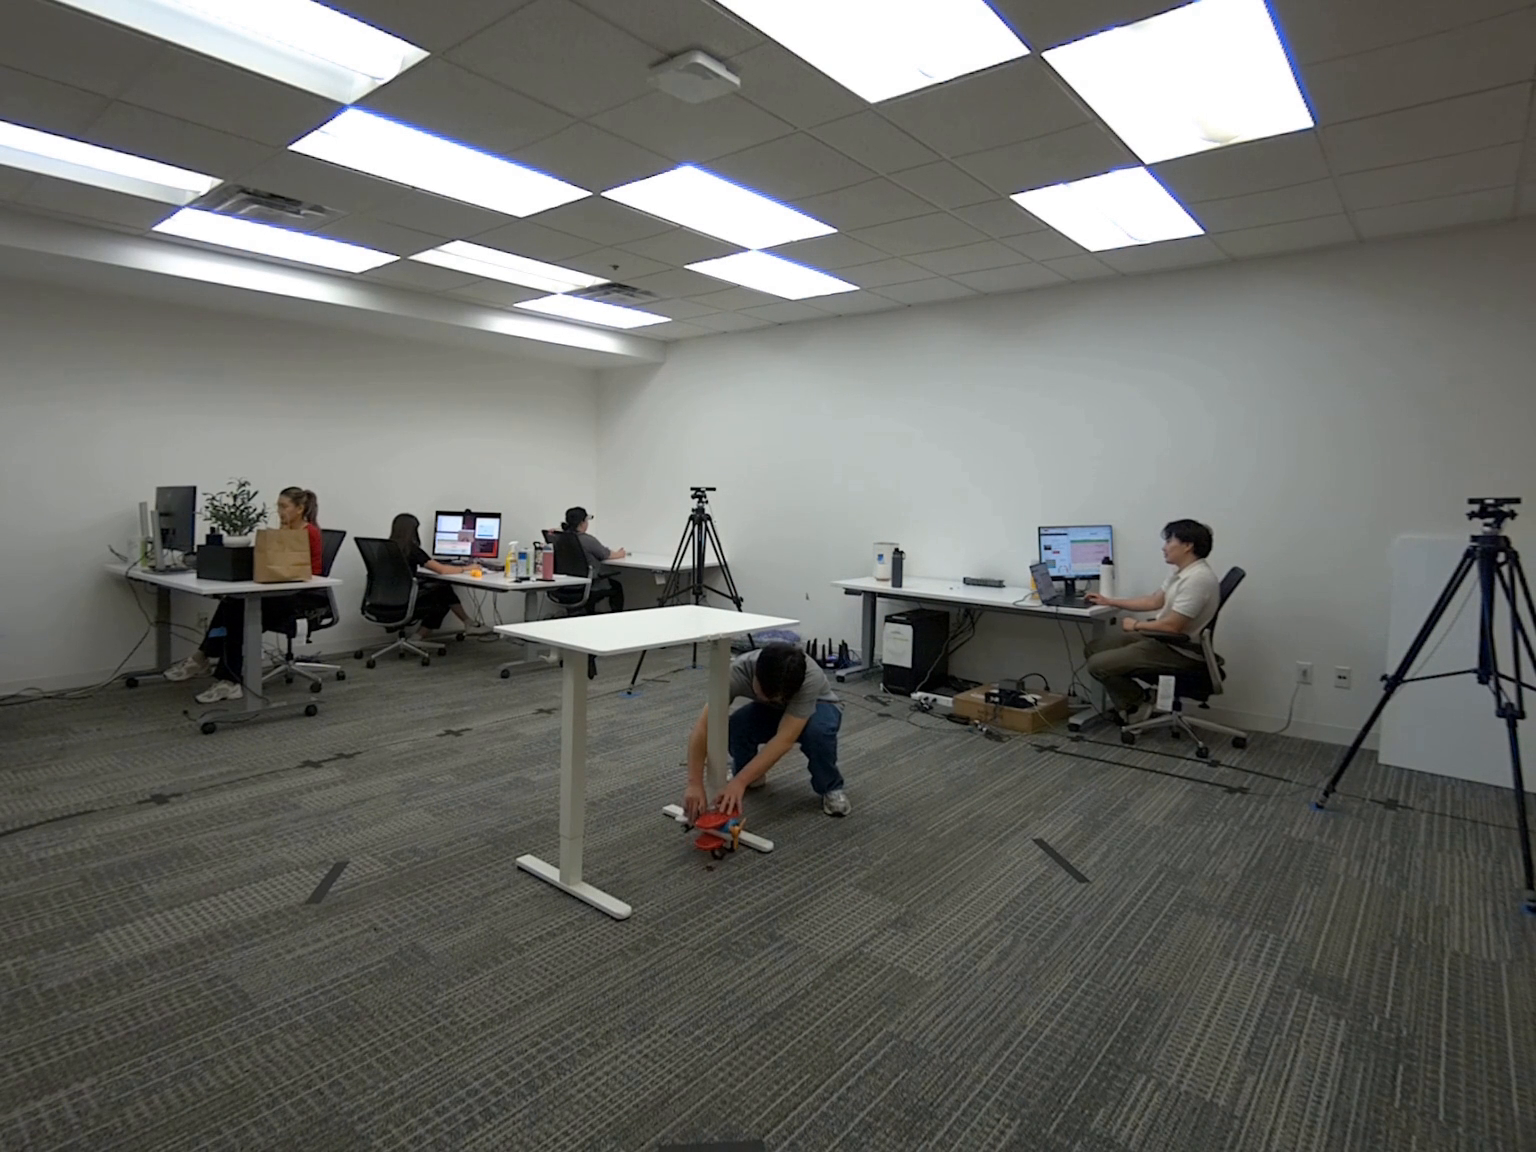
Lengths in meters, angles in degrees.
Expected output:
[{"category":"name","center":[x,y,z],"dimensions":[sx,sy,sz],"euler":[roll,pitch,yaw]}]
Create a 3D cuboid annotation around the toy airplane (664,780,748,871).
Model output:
[{"category":"toy airplane","center":[-0.235,0.951,3.234],"dimensions":[0.260,0.155,0.252],"euler":[17,13,1]}]
